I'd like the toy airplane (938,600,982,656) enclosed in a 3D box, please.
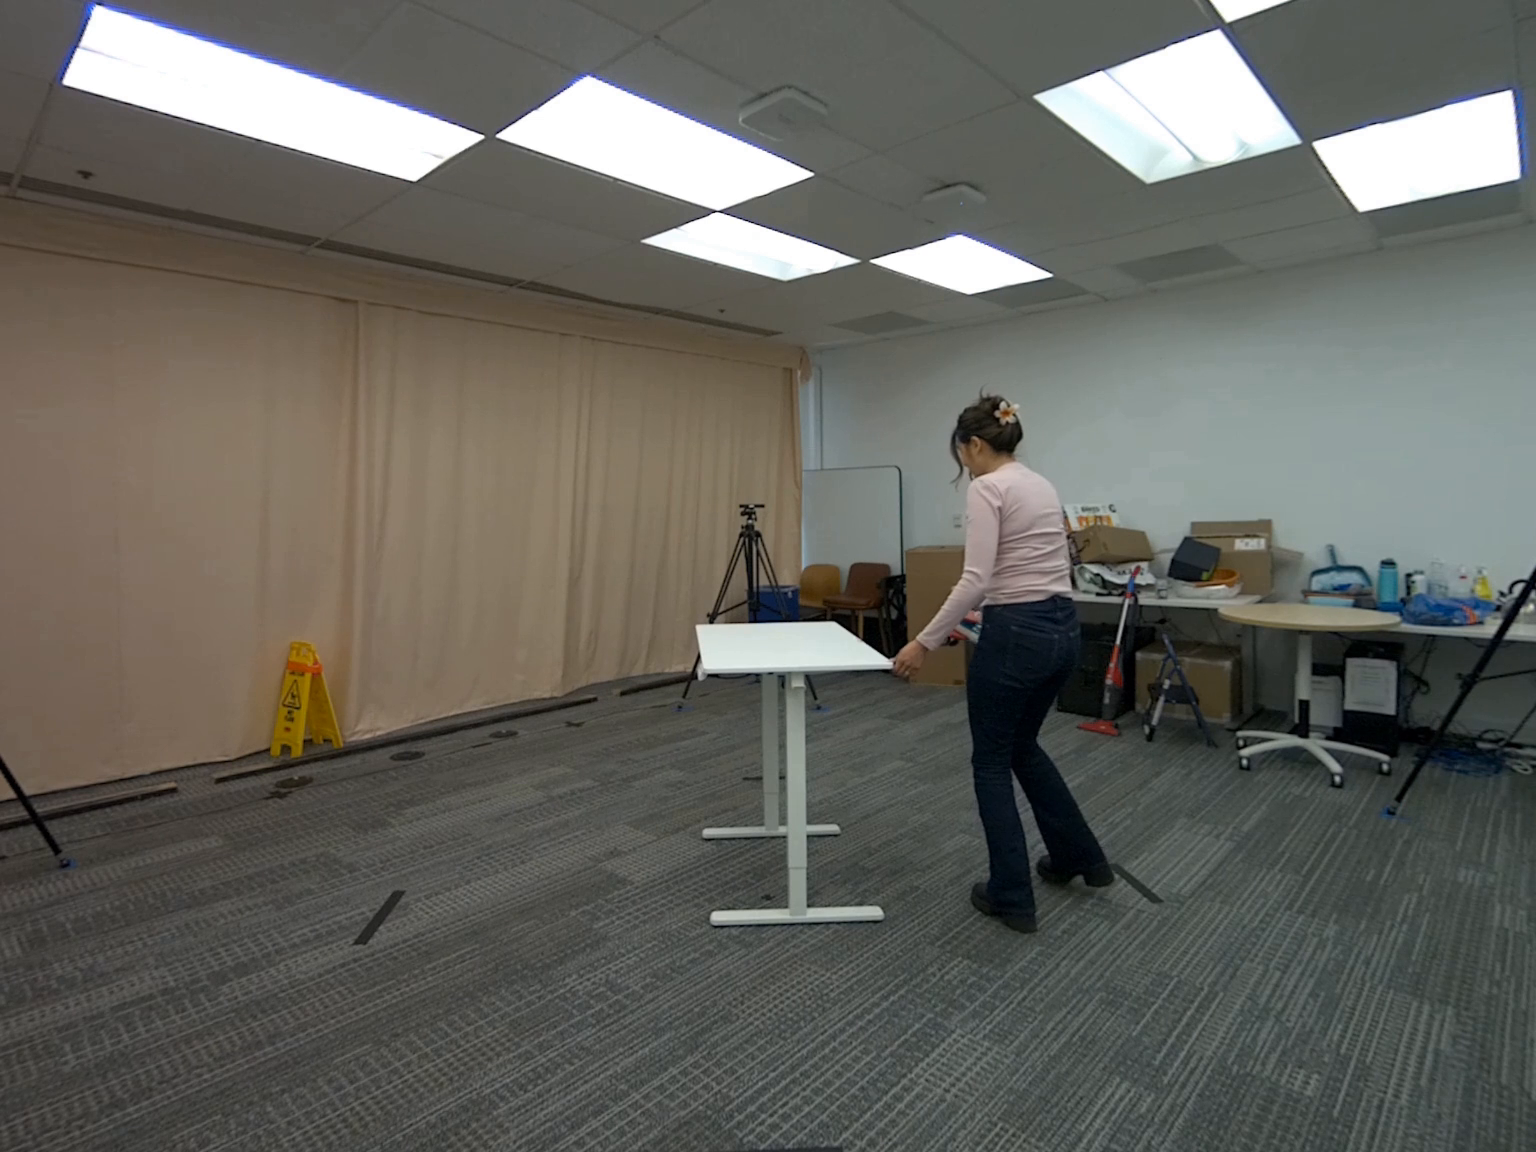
[{"bbox_3d":[0.774,0.206,3.161,0.262,0.156,0.249,13,4,8],"label":"toy airplane"}]
